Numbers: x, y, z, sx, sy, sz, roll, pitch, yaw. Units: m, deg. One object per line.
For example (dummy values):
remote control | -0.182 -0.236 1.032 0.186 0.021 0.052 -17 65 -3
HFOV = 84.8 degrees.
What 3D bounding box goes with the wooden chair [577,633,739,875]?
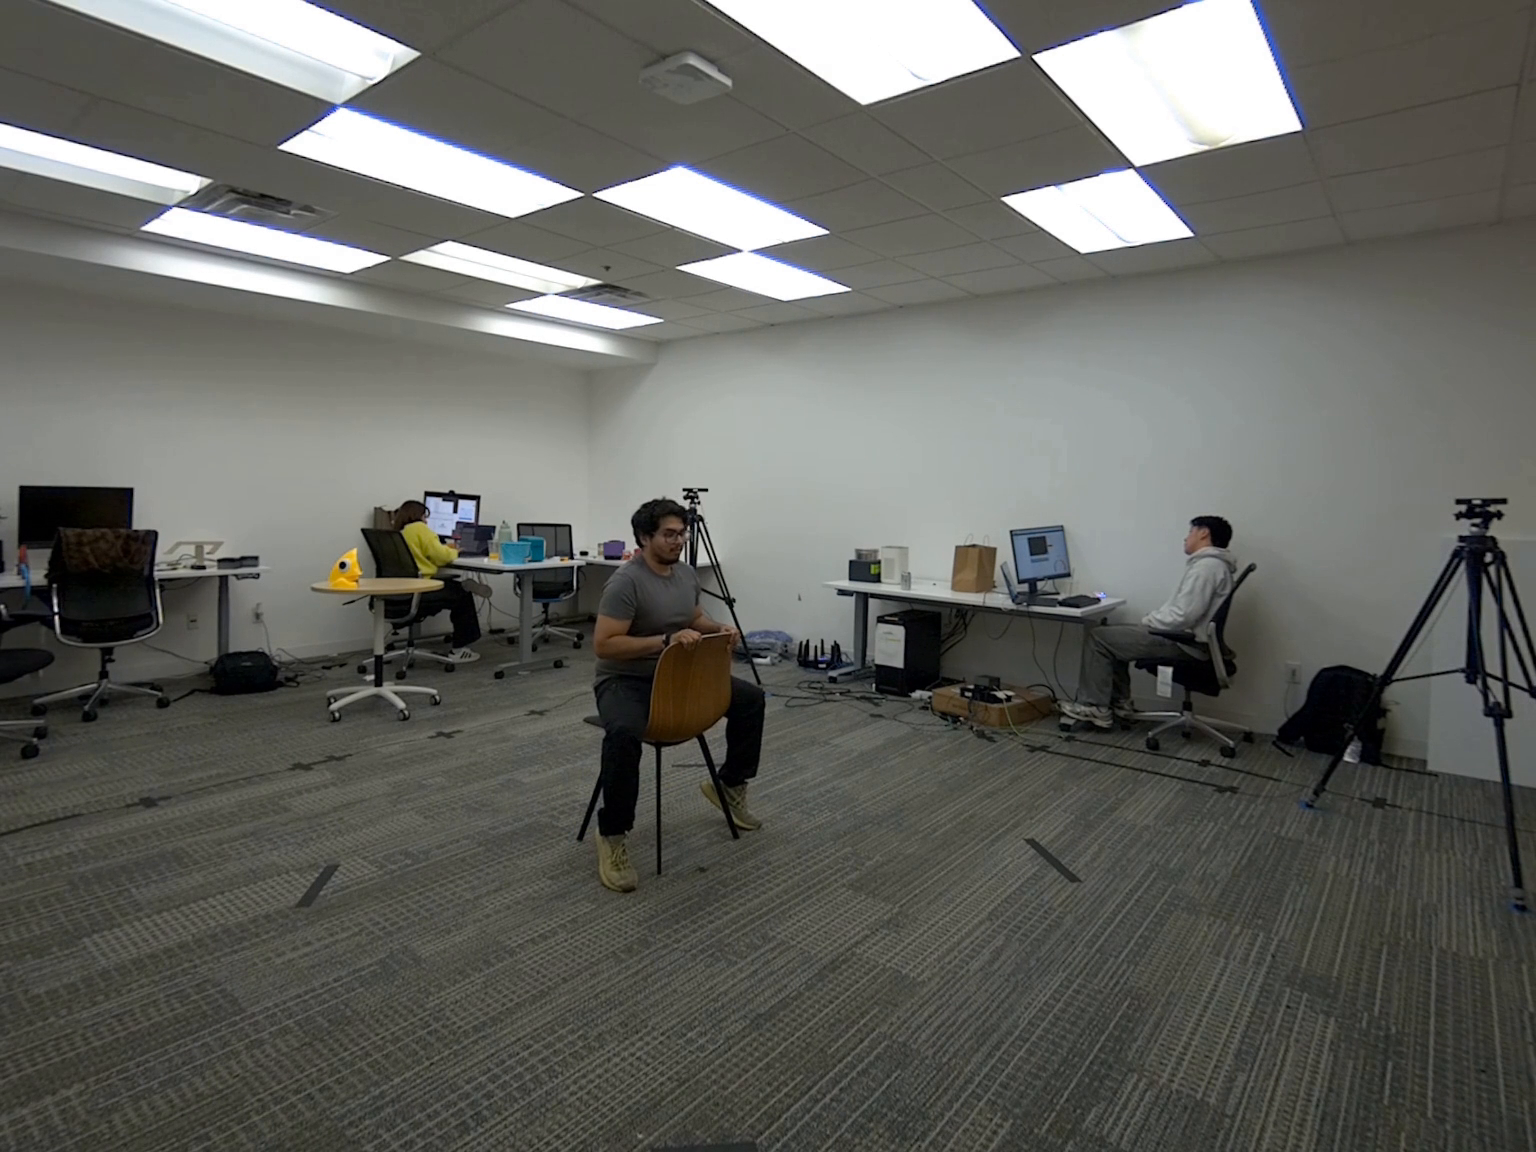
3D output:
wooden chair | -0.445 0.619 3.351 0.542 0.873 0.464 9 7 39
